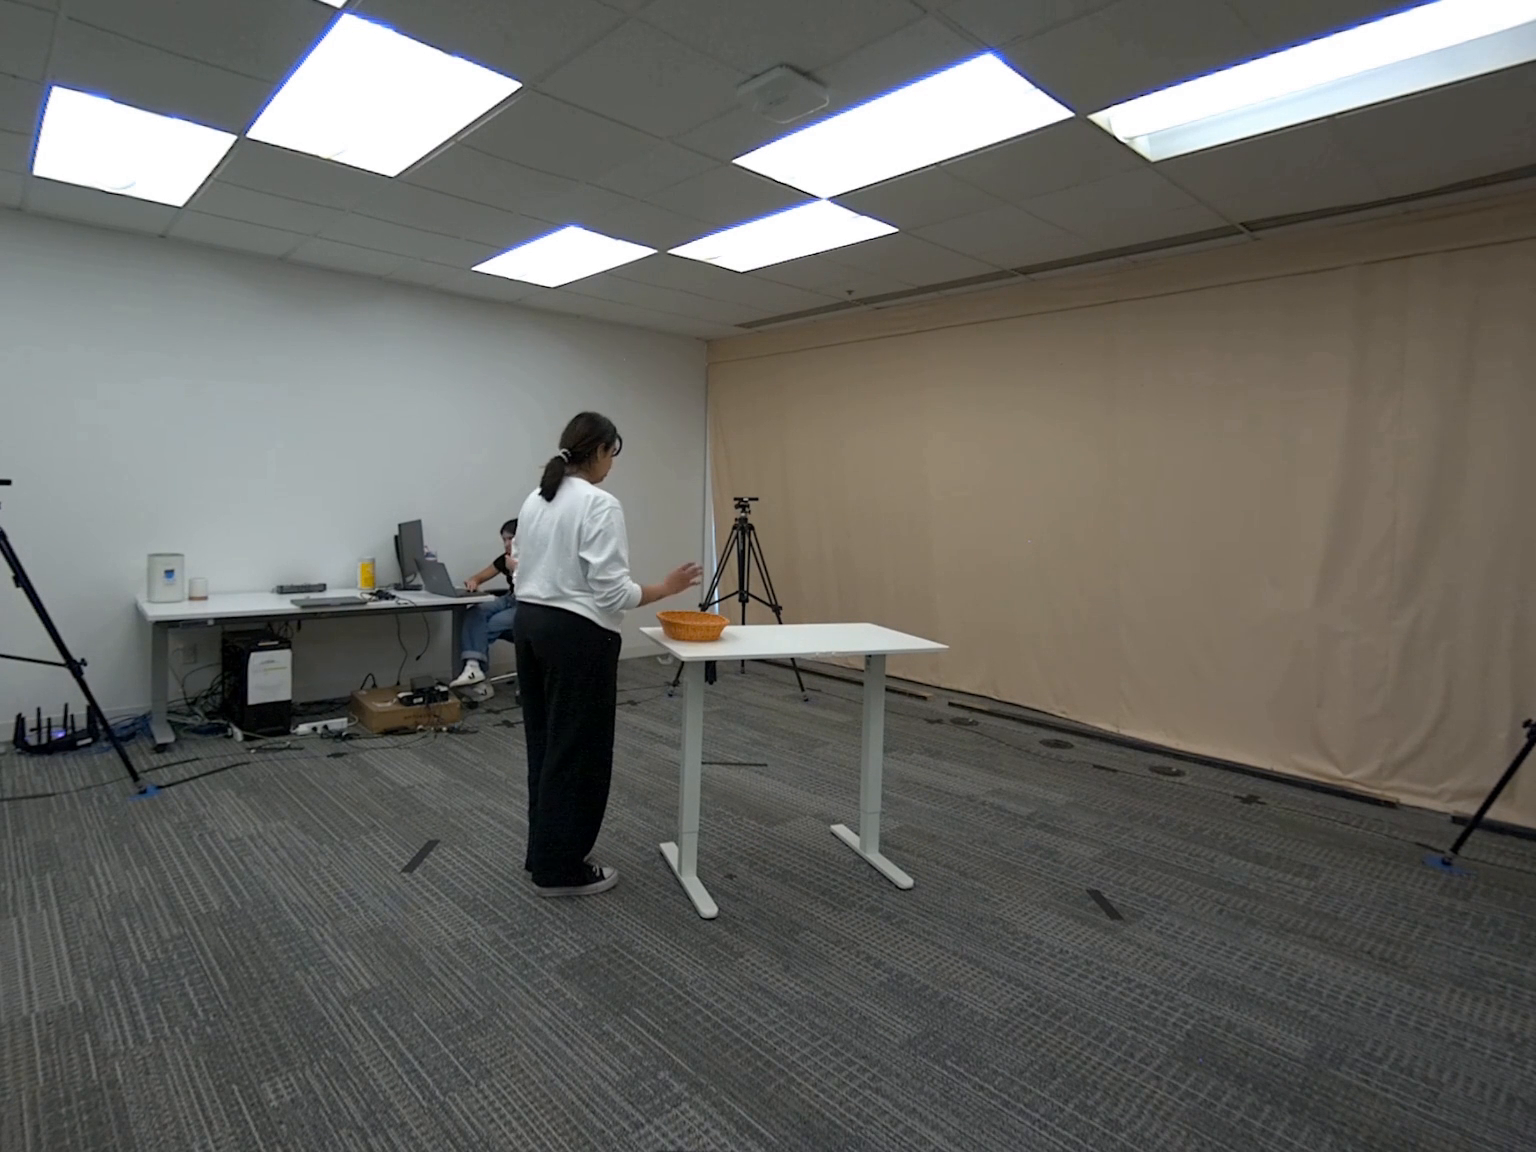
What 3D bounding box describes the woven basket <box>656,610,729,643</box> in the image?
[{"bbox_3d":[-0.299,0.192,3.072,0.249,0.073,0.355,2,4,-14],"label":"woven basket"}]
